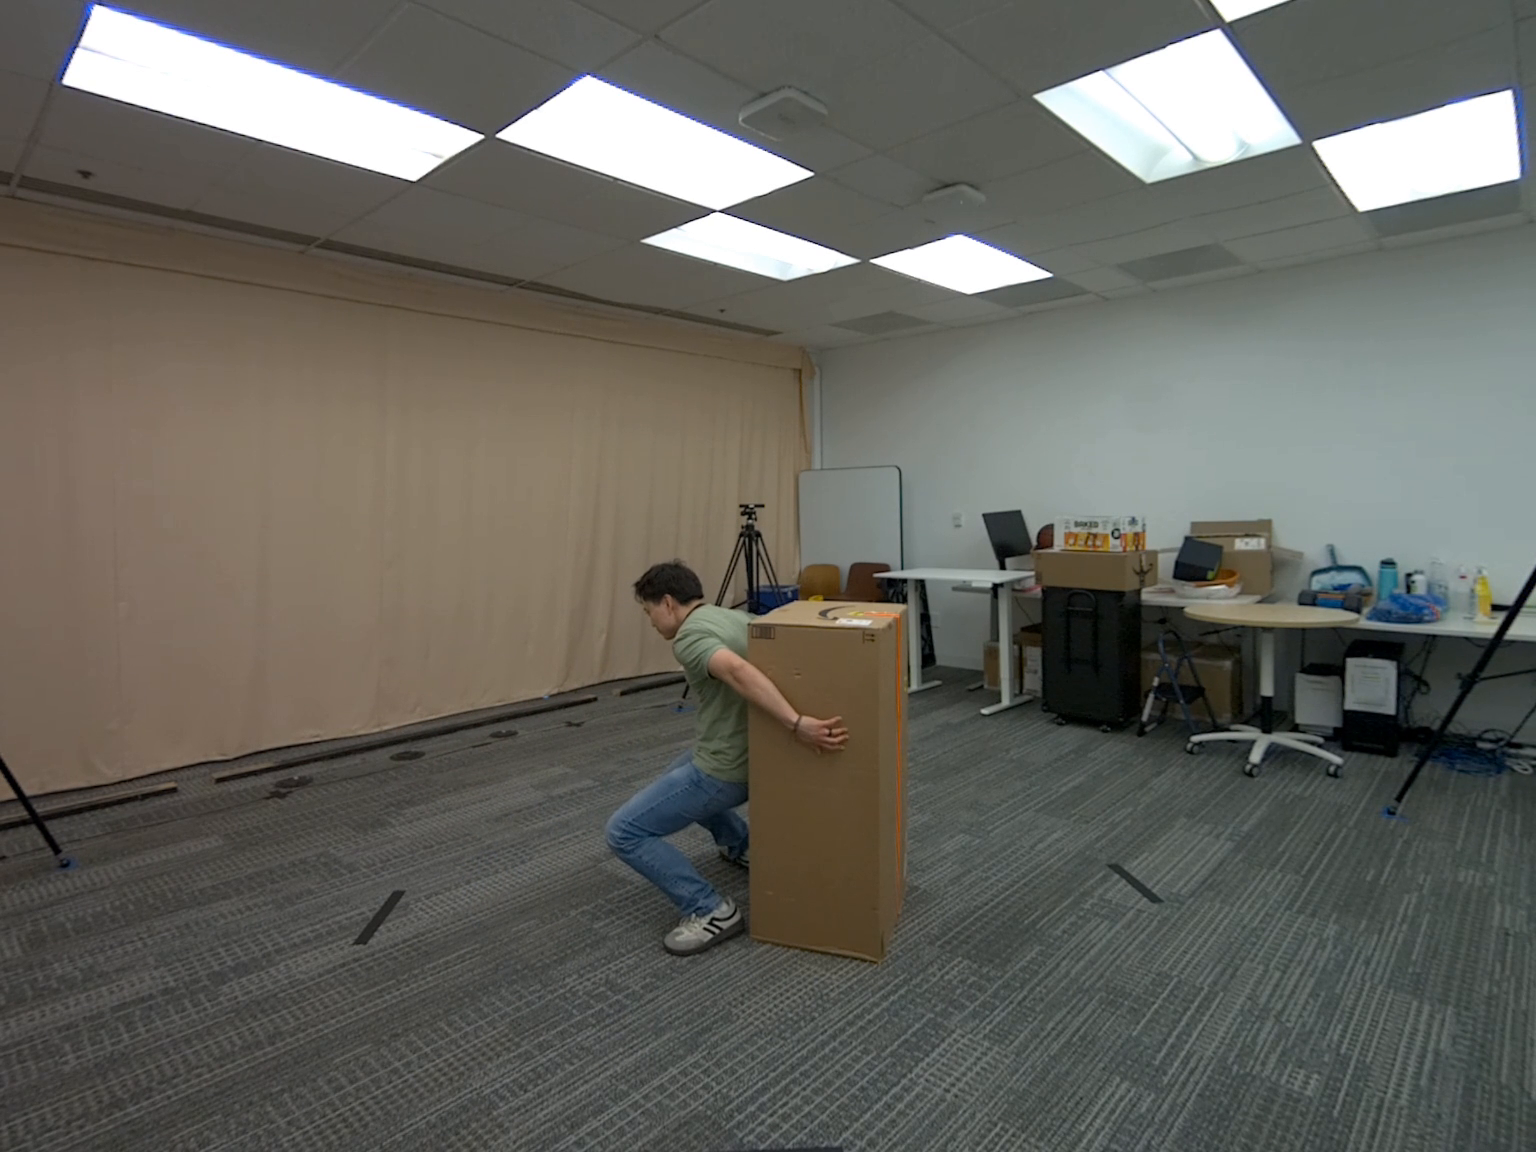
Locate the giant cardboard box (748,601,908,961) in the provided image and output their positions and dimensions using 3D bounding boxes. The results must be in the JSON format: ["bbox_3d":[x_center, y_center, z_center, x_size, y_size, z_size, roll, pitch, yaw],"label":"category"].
[{"bbox_3d":[0.230,0.631,2.850,0.435,1.023,0.567,1,4,19],"label":"giant cardboard box"}]
